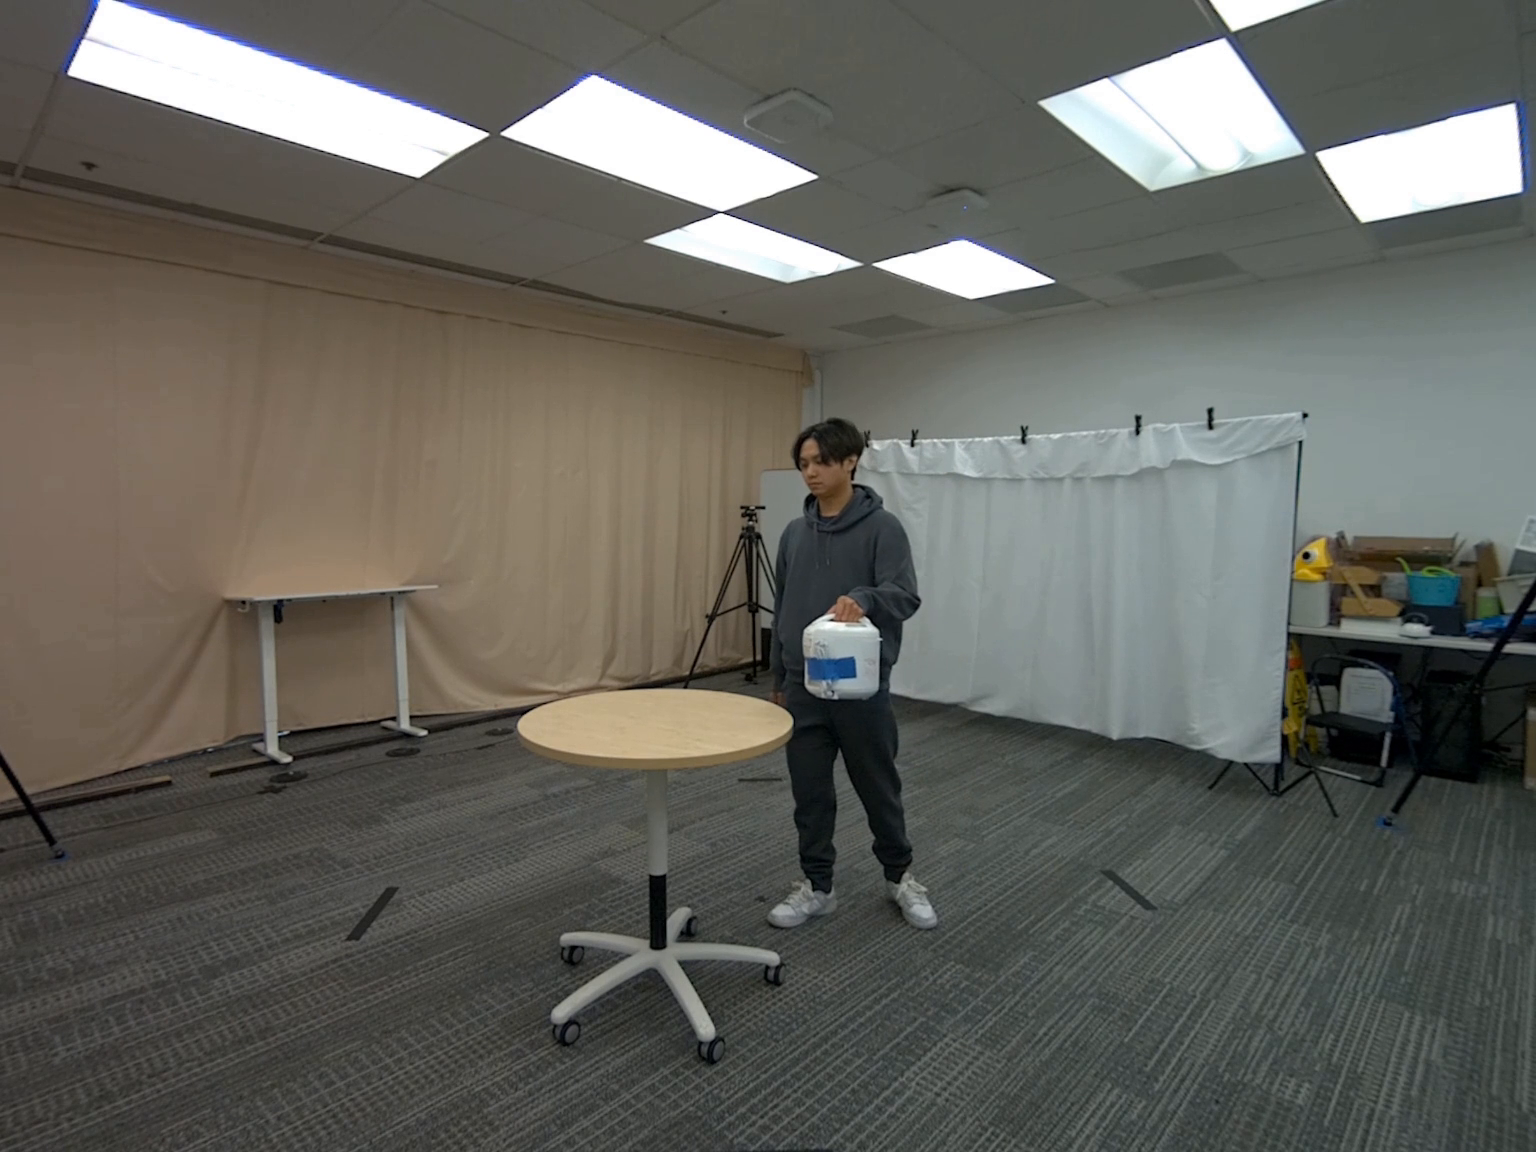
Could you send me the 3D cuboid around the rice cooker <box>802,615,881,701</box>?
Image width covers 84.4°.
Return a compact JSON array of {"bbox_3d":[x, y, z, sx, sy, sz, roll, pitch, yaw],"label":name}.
[{"bbox_3d":[0.202,0.222,2.371,0.217,0.233,0.221,5,-2,-16],"label":"rice cooker"}]
